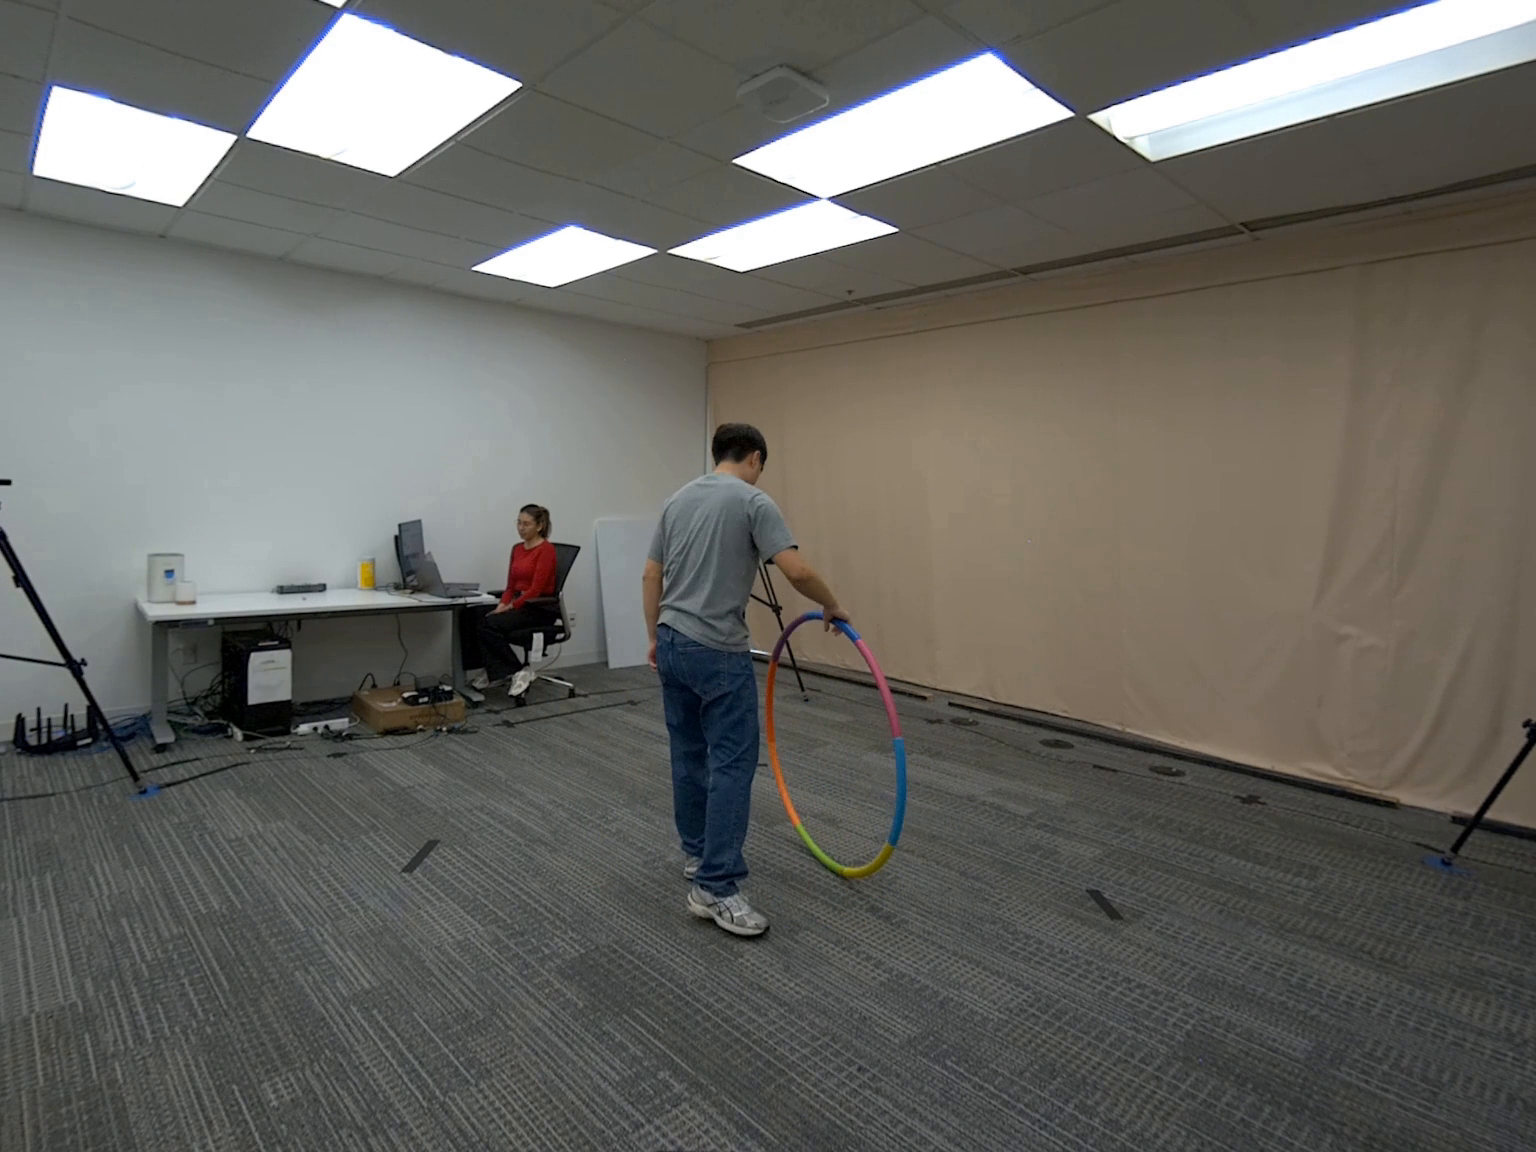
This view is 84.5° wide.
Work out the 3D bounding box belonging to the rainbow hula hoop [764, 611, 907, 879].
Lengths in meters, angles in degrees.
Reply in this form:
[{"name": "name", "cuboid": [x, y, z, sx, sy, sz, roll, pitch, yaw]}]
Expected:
[{"name": "rainbow hula hoop", "cuboid": [0.206, 0.619, 3.176, 0.035, 0.975, 0.999, -3, 6, -26]}]
